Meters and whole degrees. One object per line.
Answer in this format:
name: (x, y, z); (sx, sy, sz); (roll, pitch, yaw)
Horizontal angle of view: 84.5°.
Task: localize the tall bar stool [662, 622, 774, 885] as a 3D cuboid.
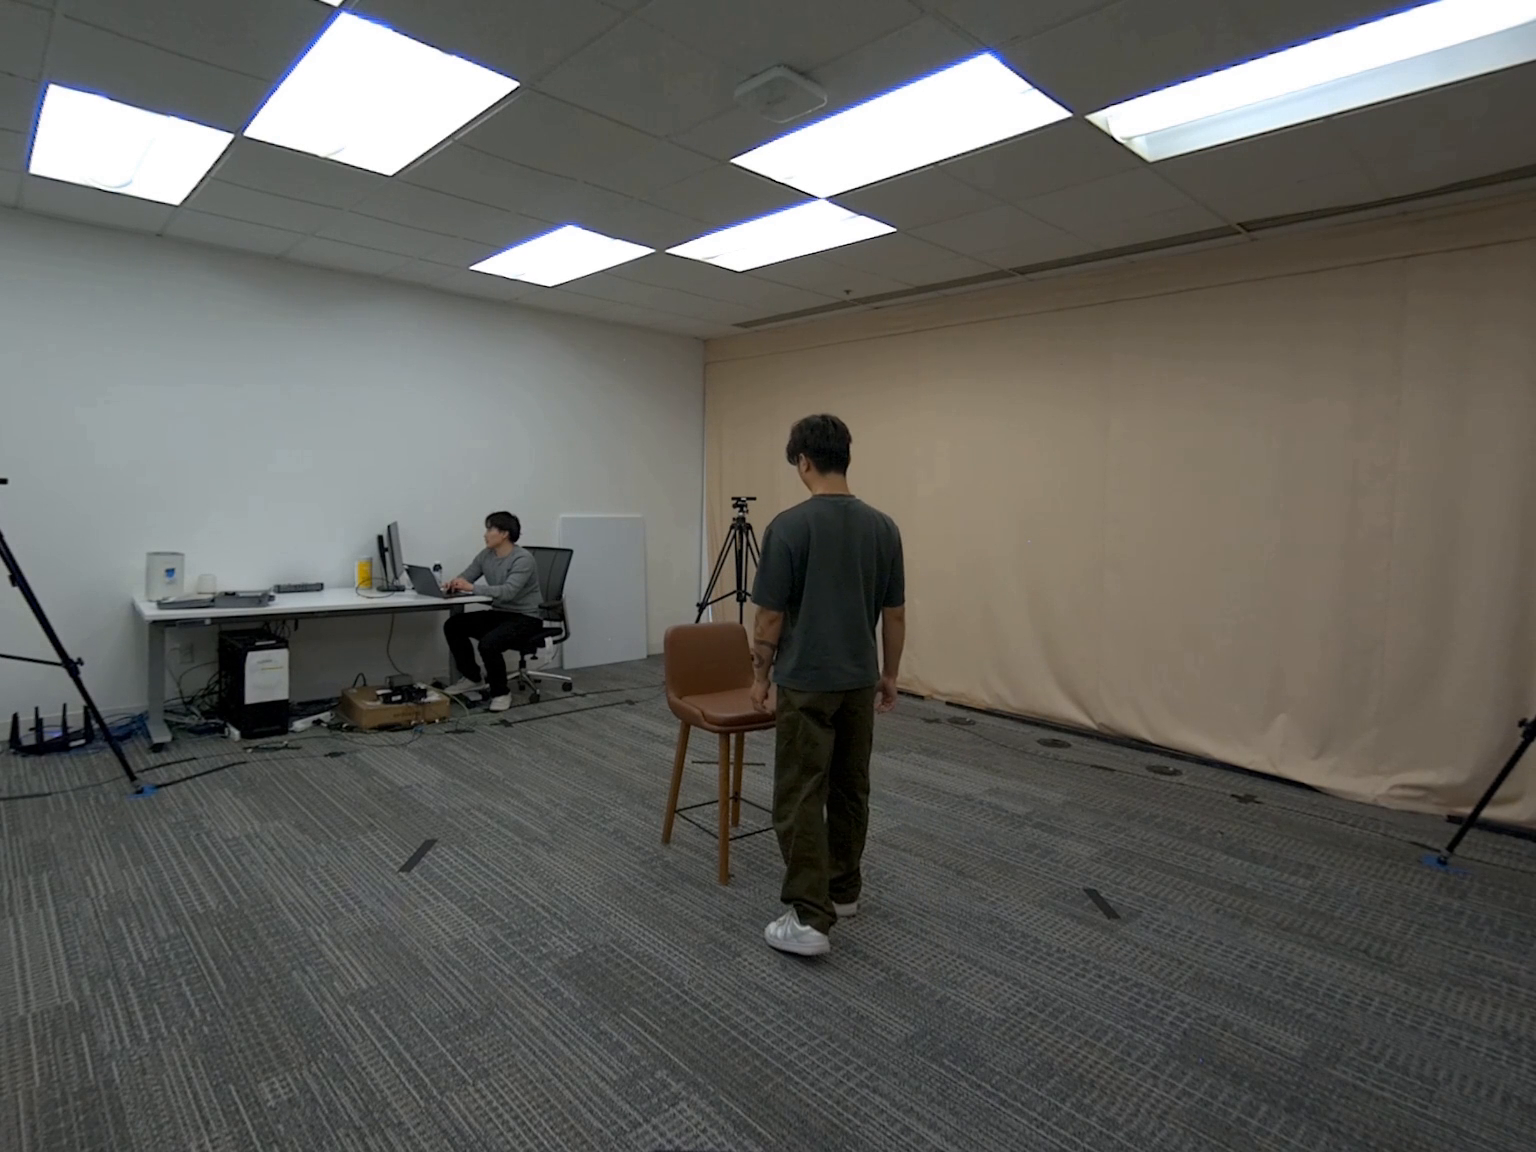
tall bar stool: (-0.143, 0.652, 3.294); (0.446, 0.888, 0.479); (-1, 2, -37)
